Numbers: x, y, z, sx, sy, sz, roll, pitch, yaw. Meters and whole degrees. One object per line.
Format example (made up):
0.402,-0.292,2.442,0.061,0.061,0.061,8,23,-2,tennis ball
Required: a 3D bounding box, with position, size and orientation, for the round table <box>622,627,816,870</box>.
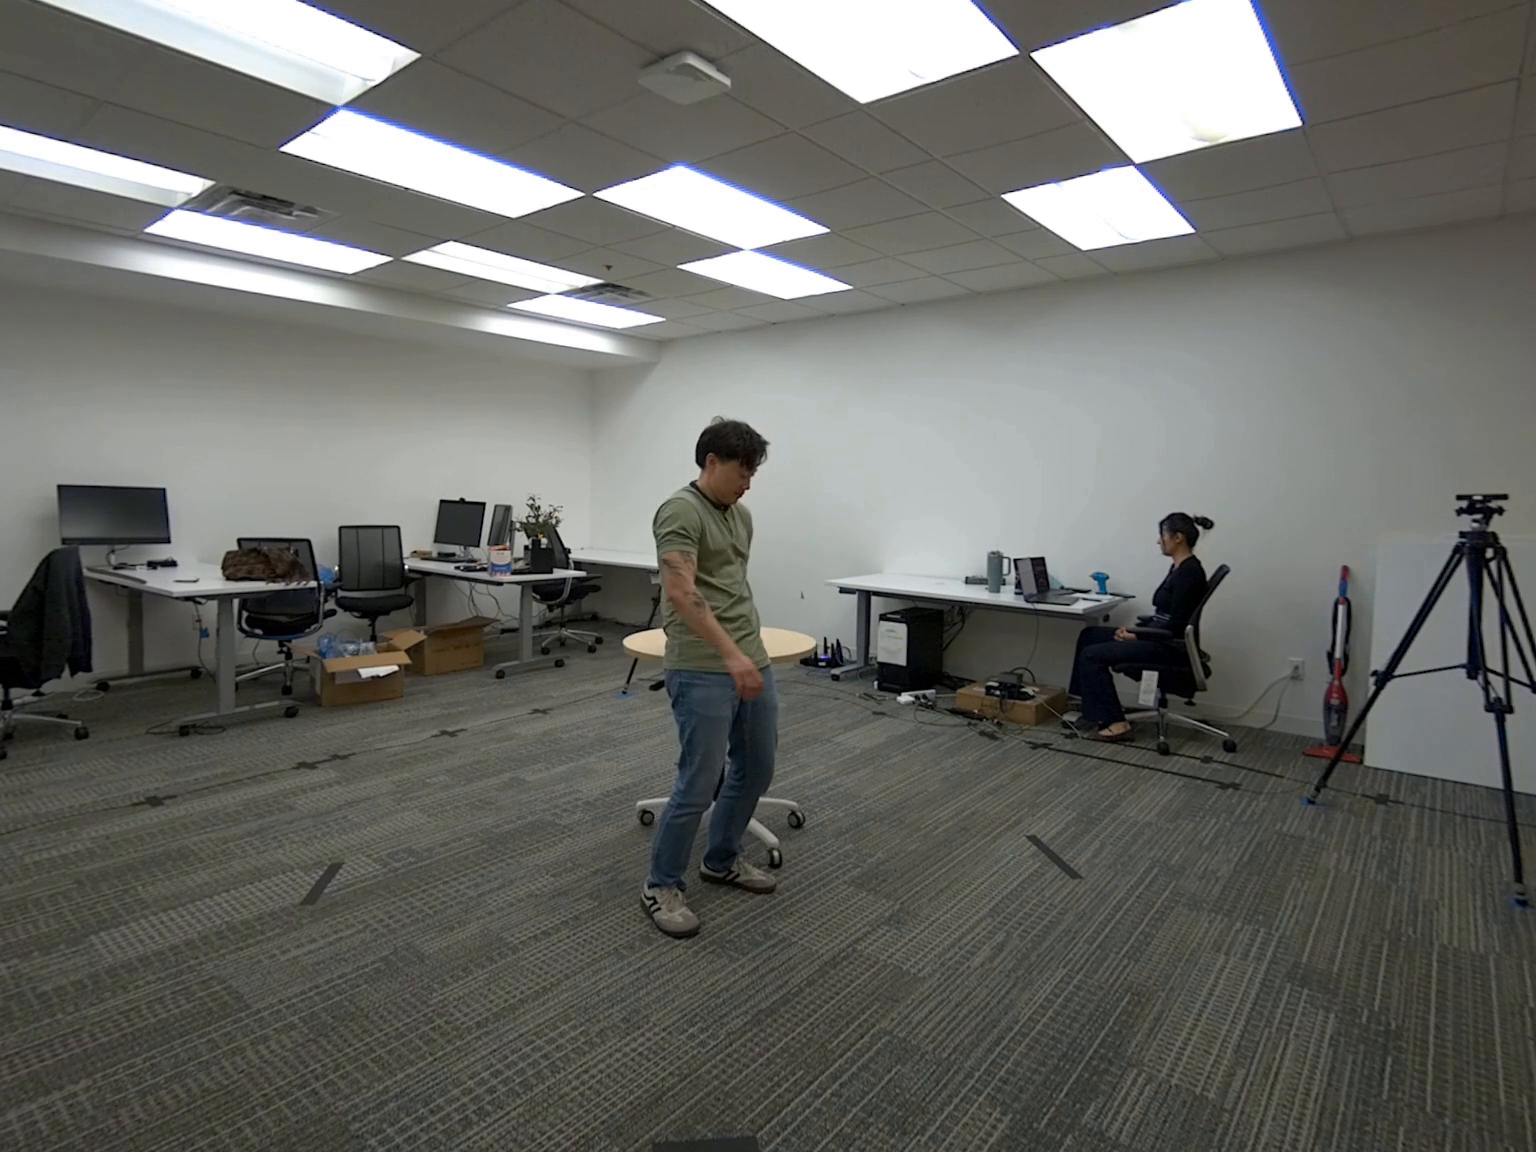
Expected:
-0.201,0.645,3.393,0.763,0.791,0.768,0,4,-2,round table
